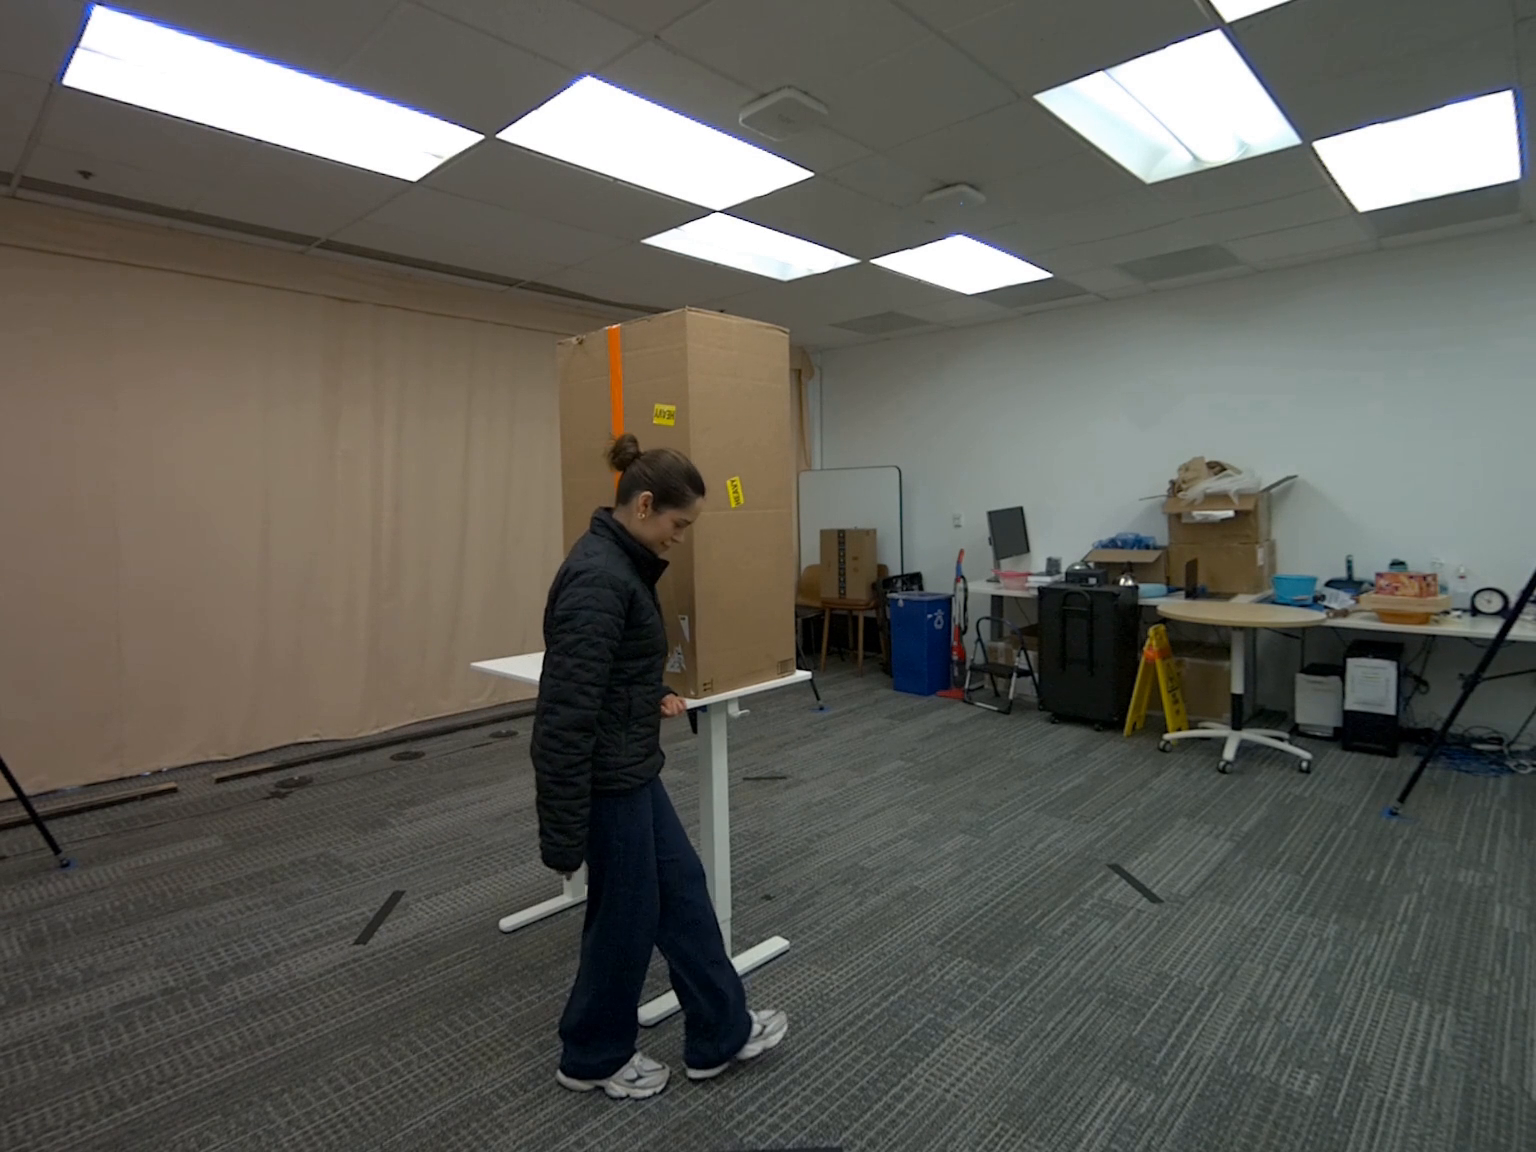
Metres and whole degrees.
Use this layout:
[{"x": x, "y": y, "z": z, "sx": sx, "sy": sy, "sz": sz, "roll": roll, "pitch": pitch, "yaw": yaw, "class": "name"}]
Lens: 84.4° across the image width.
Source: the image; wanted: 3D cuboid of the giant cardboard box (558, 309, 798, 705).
[{"x": -0.266, "y": -0.206, "z": 2.532, "sx": 0.596, "sy": 1.024, "sz": 0.413, "roll": 2, "pitch": 4, "yaw": 42, "class": "giant cardboard box"}]
